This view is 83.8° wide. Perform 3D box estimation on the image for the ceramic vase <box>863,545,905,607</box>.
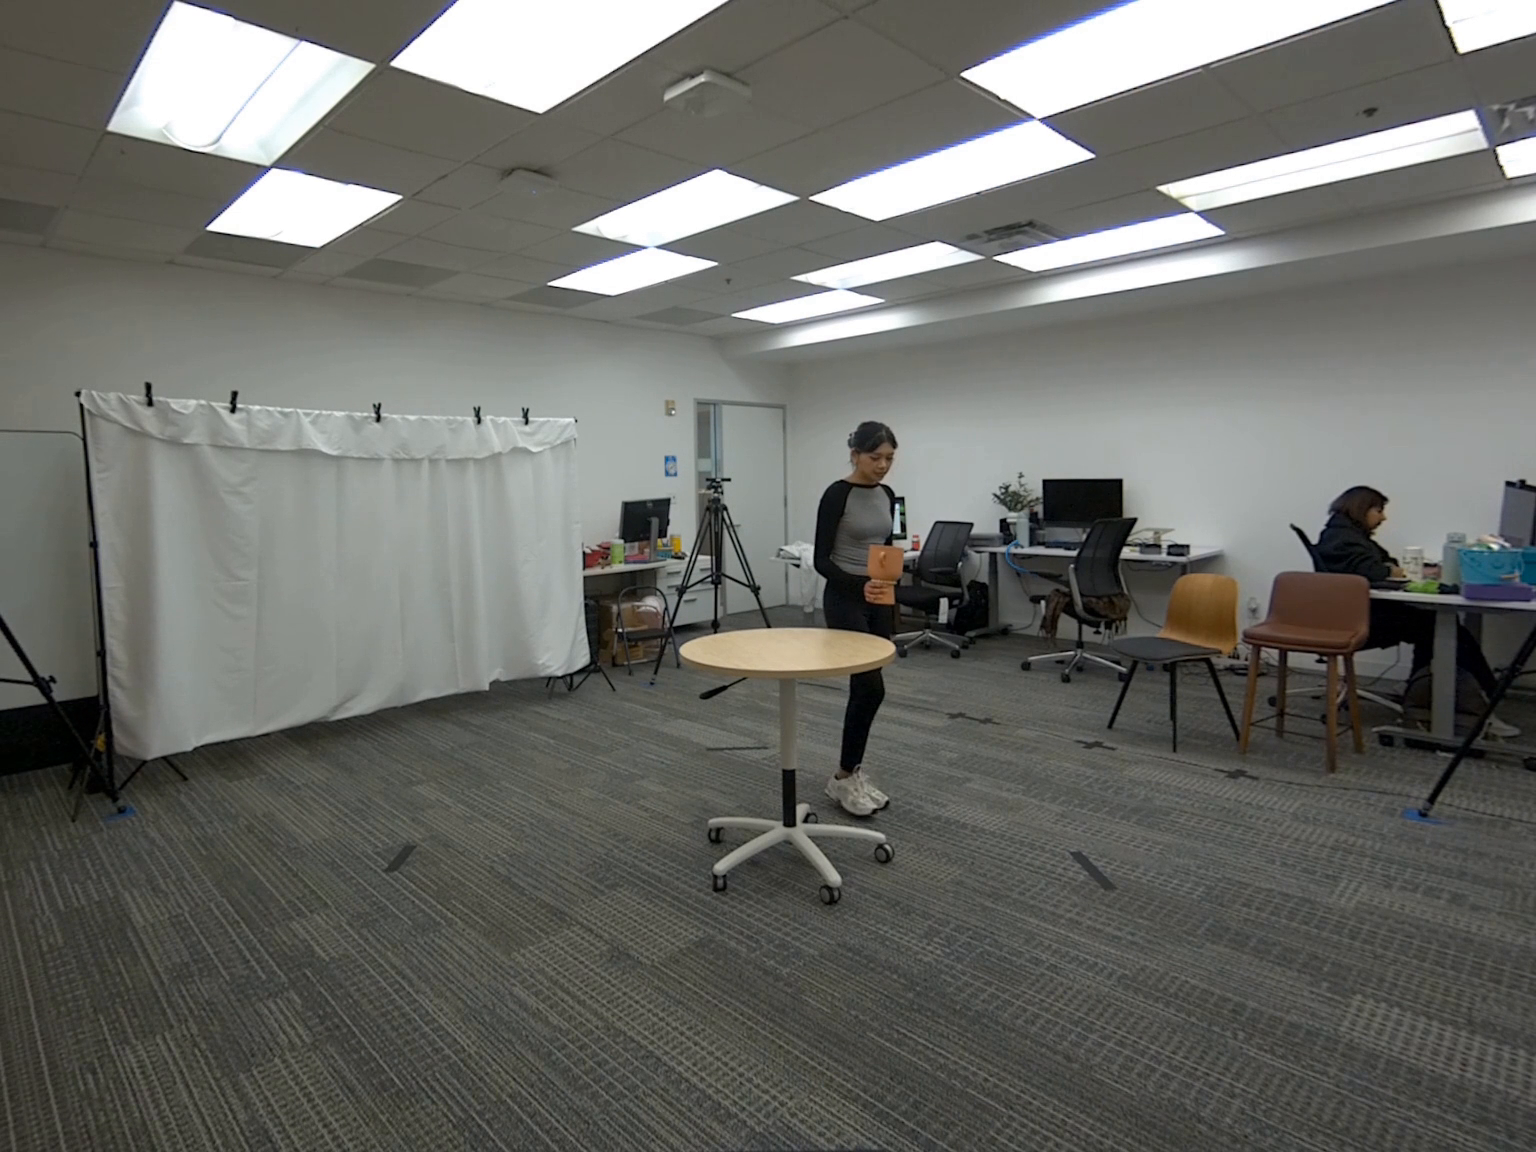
[{"bbox_3d":[0.443,-0.004,3.295,0.154,0.220,0.138,4,1,-31],"label":"ceramic vase"}]
